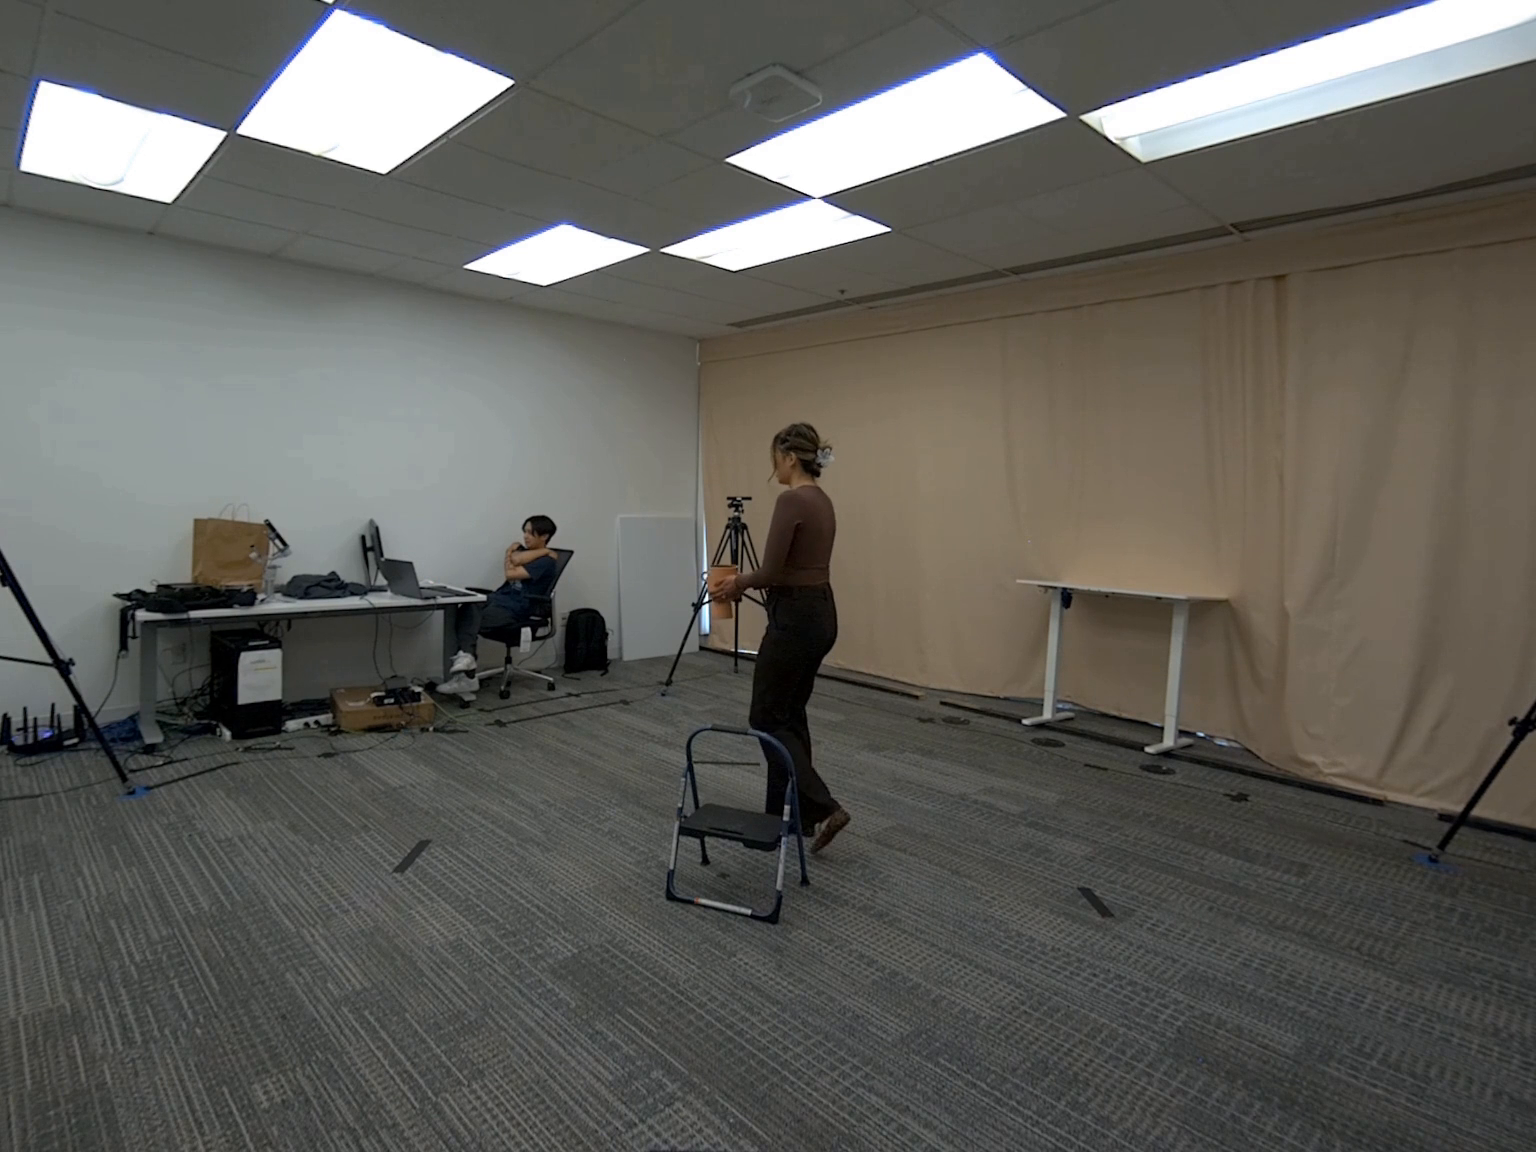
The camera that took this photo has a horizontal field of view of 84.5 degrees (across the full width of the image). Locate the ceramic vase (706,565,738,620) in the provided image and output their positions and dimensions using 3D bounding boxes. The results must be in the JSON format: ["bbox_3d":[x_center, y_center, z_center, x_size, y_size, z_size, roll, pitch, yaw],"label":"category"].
[{"bbox_3d":[-0.193,0.068,3.570,0.132,0.219,0.163,-3,6,-34],"label":"ceramic vase"}]
